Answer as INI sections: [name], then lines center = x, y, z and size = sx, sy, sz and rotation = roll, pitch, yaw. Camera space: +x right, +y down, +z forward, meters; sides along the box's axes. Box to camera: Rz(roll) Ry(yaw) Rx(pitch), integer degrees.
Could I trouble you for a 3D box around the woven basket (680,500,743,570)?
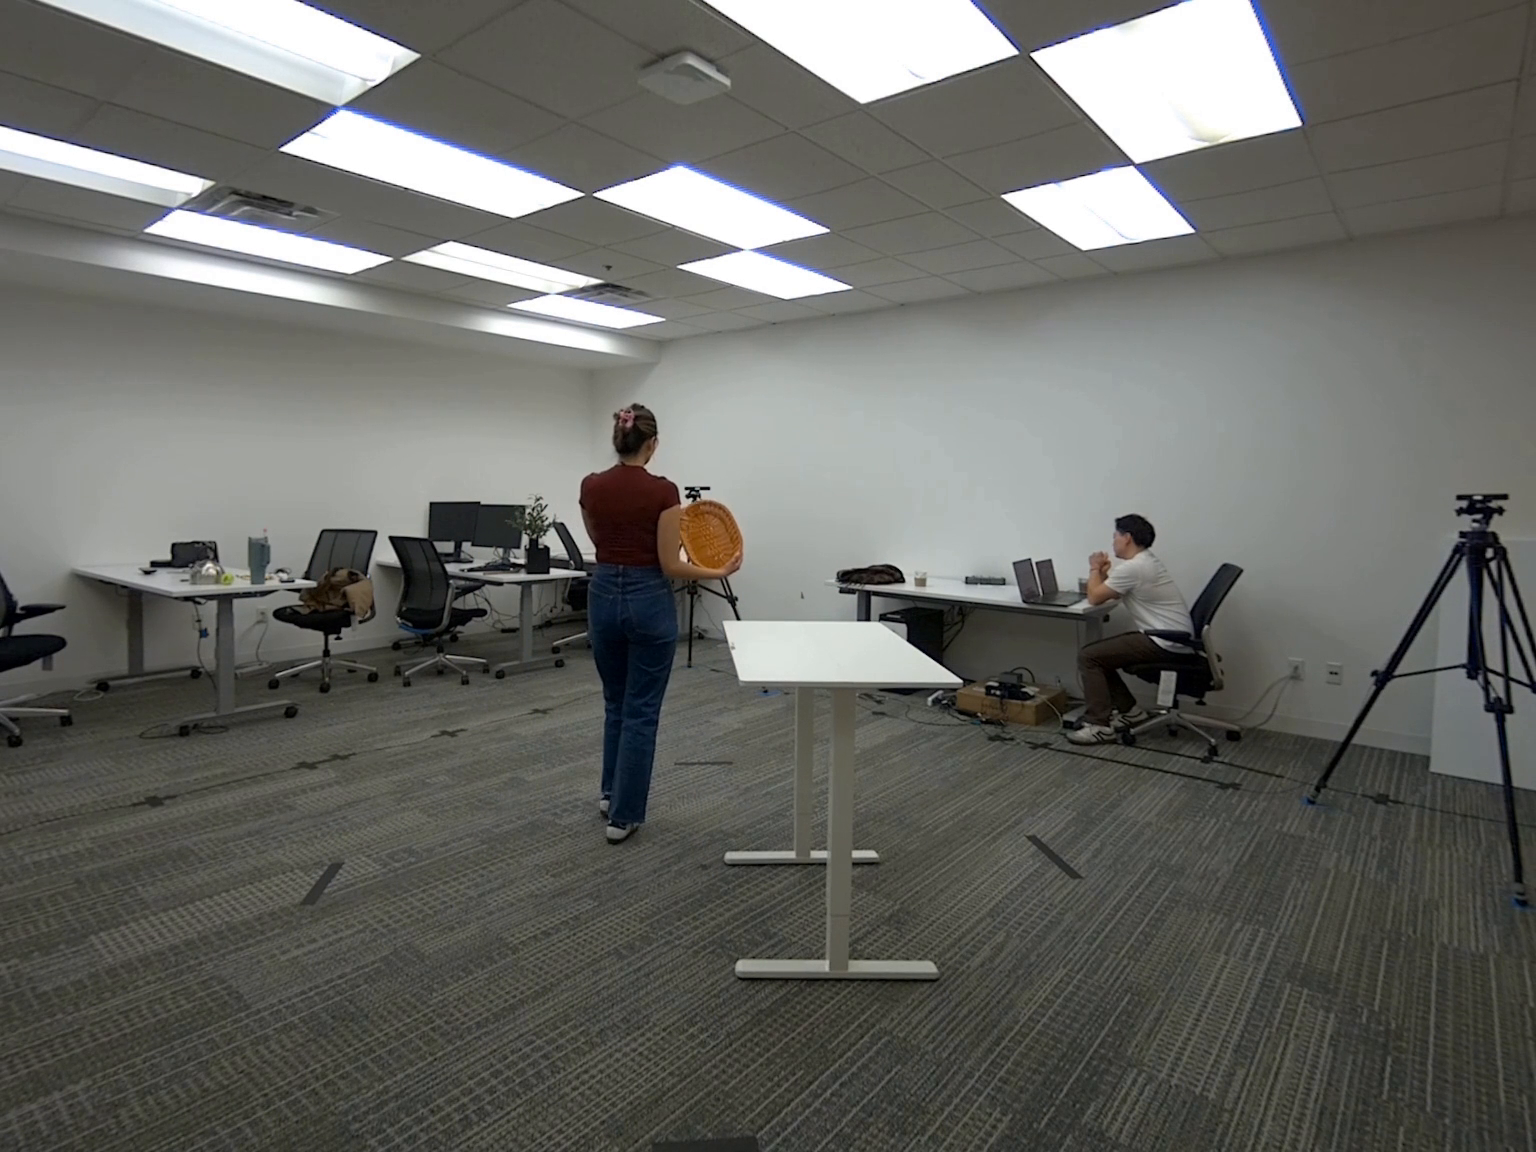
[woven basket]
center = -0.263, -0.161, 3.606
size = 0.251, 0.362, 0.071
rotation = -18, -28, -6
